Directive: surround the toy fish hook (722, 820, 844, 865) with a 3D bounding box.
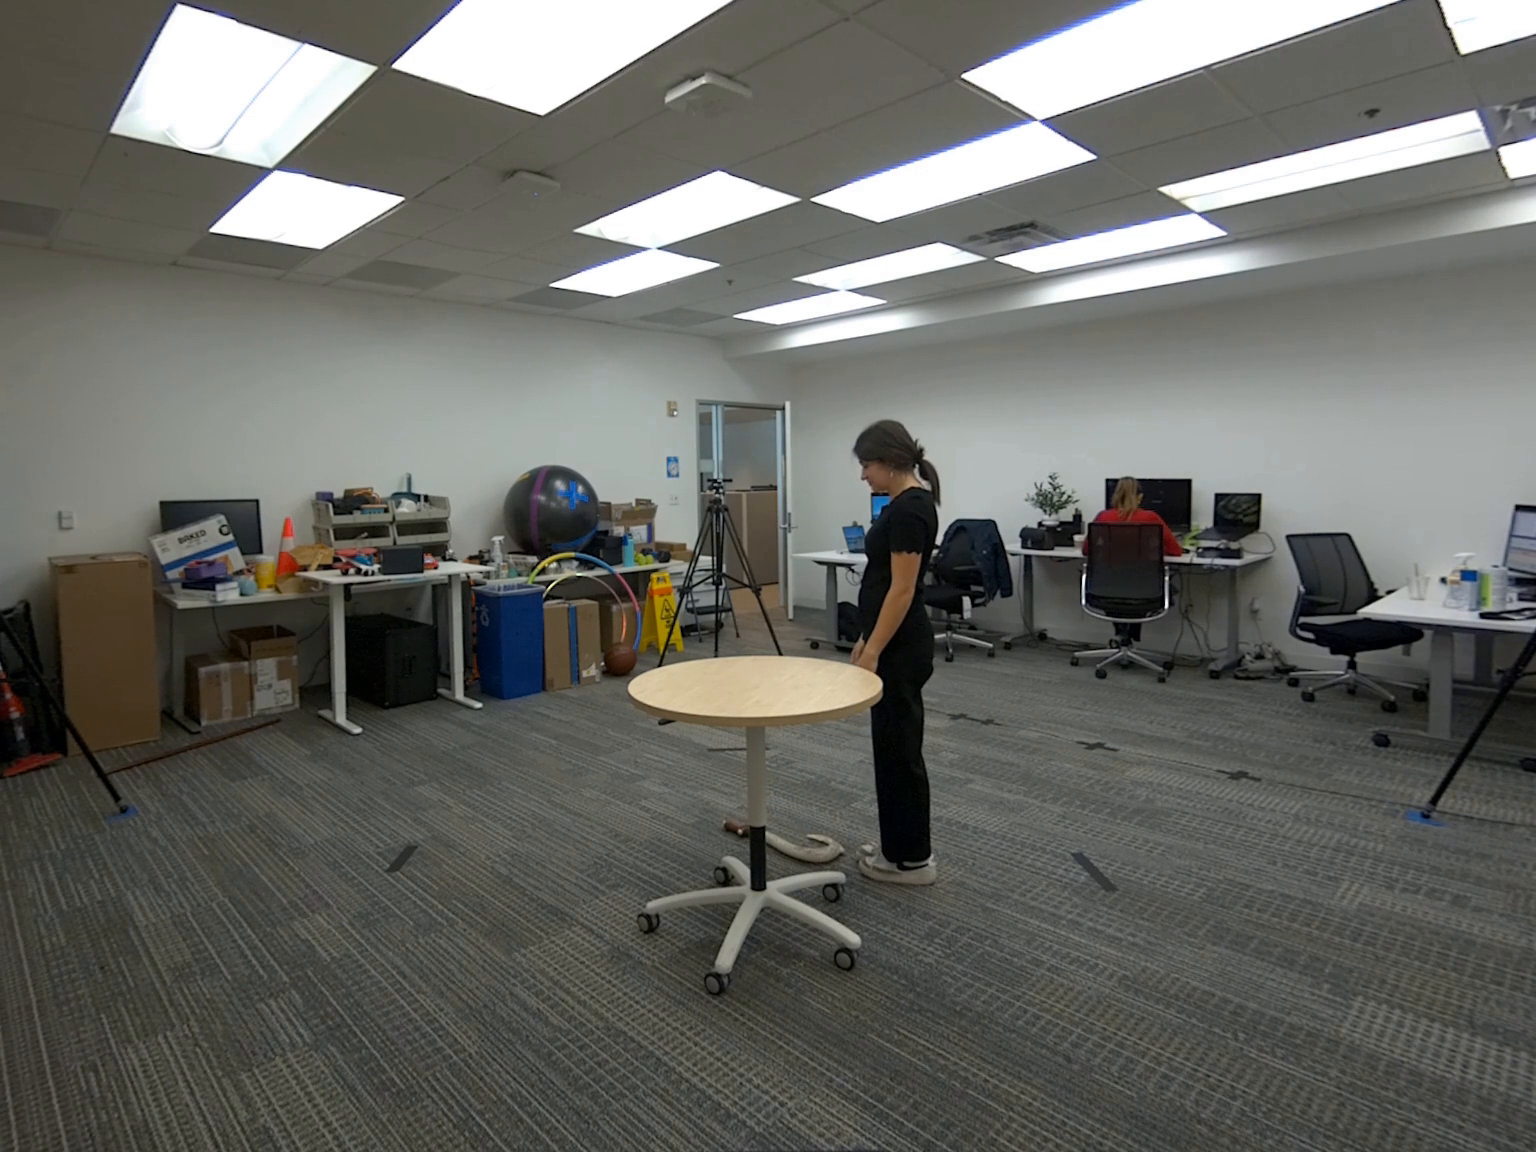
[{"bbox_3d":[0.059,1.007,3.289,0.522,0.048,0.217,6,0,40],"label":"toy fish hook"}]
